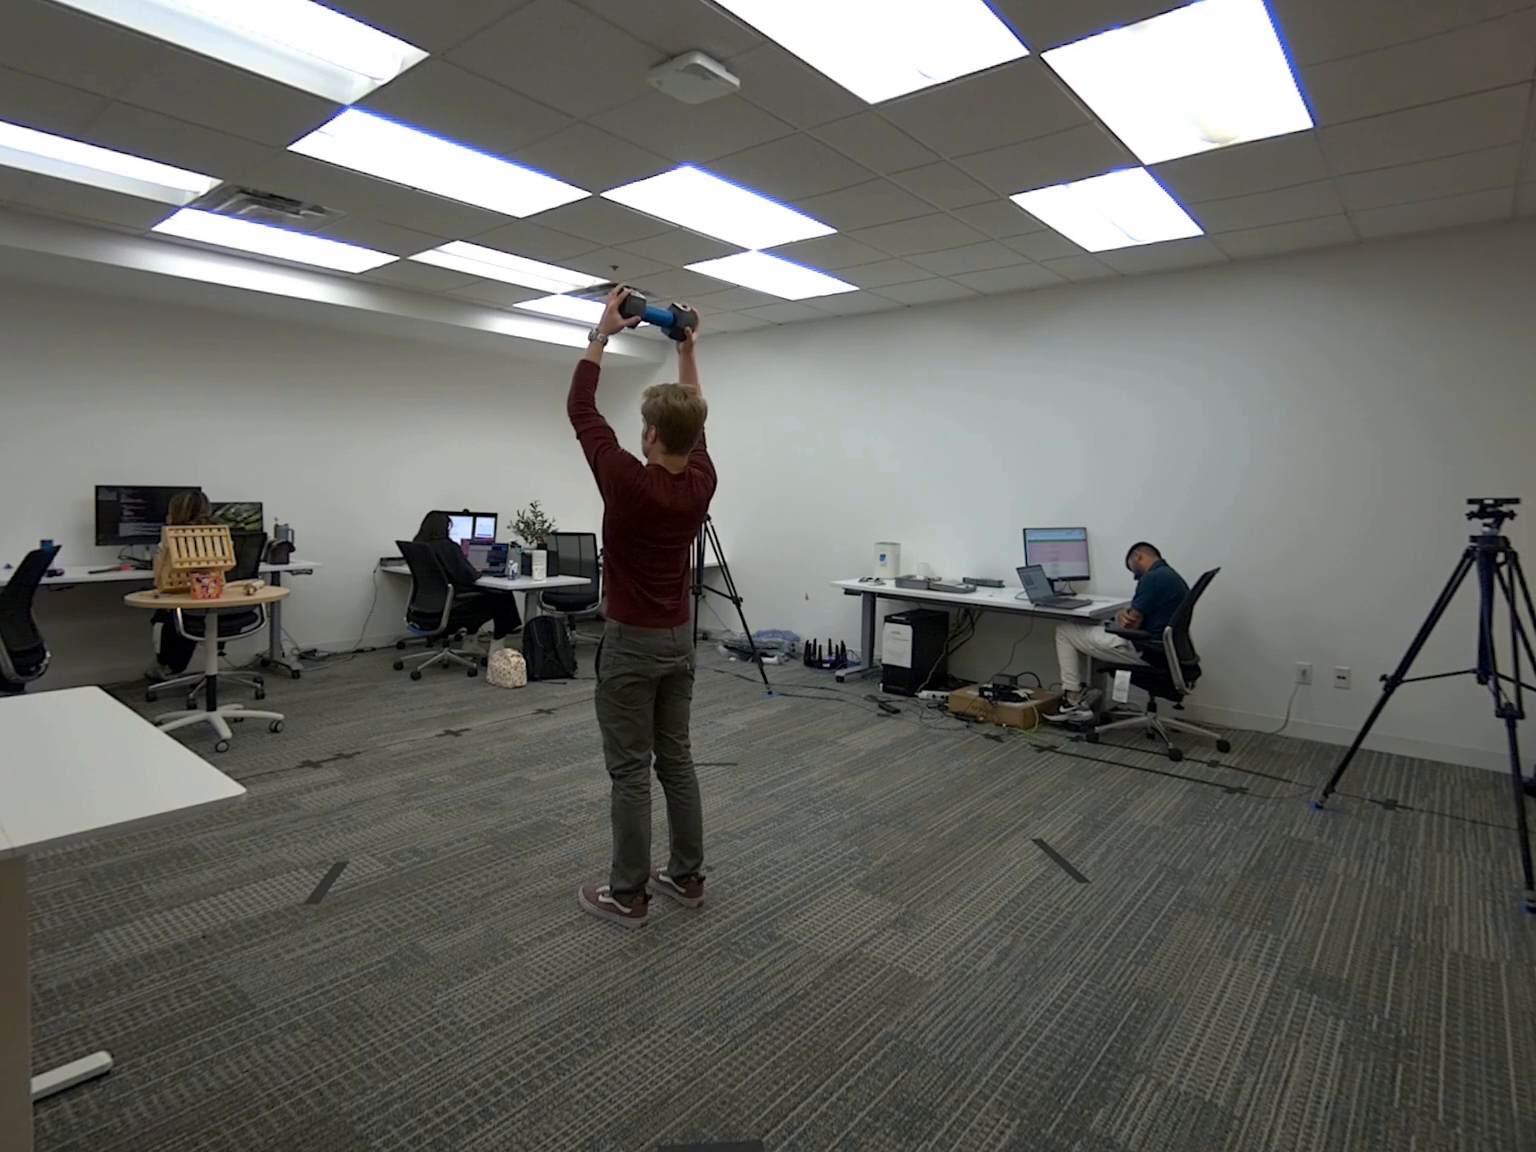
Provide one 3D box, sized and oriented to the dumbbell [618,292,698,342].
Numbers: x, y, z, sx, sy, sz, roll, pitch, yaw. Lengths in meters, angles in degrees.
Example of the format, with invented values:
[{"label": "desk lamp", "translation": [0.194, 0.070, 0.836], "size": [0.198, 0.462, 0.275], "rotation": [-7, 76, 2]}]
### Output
[{"label": "dumbbell", "translation": [-0.390, -0.856, 2.809], "size": [0.284, 0.123, 0.112], "rotation": [2, 3, -44]}]
